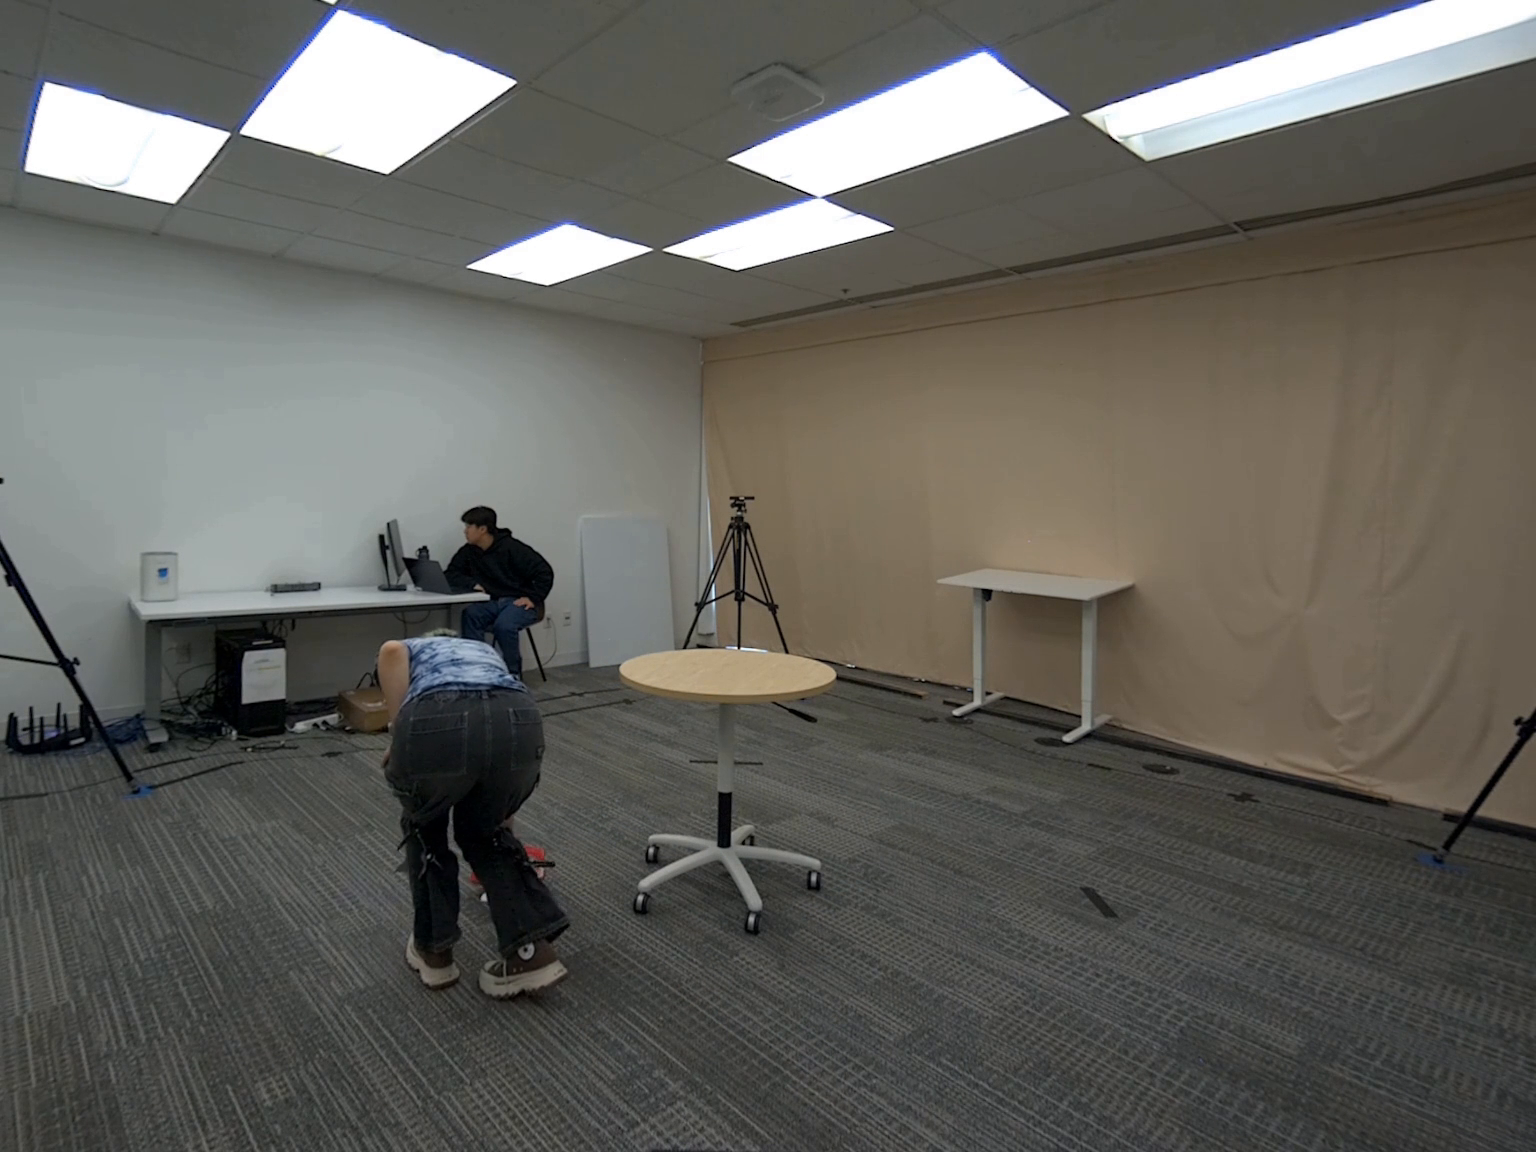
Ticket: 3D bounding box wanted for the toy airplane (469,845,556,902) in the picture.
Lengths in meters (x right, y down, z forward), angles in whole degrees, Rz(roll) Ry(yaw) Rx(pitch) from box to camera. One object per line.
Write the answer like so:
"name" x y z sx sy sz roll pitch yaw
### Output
"toy airplane" -0.885 1.039 2.880 0.246 0.156 0.265 -3 6 -34
